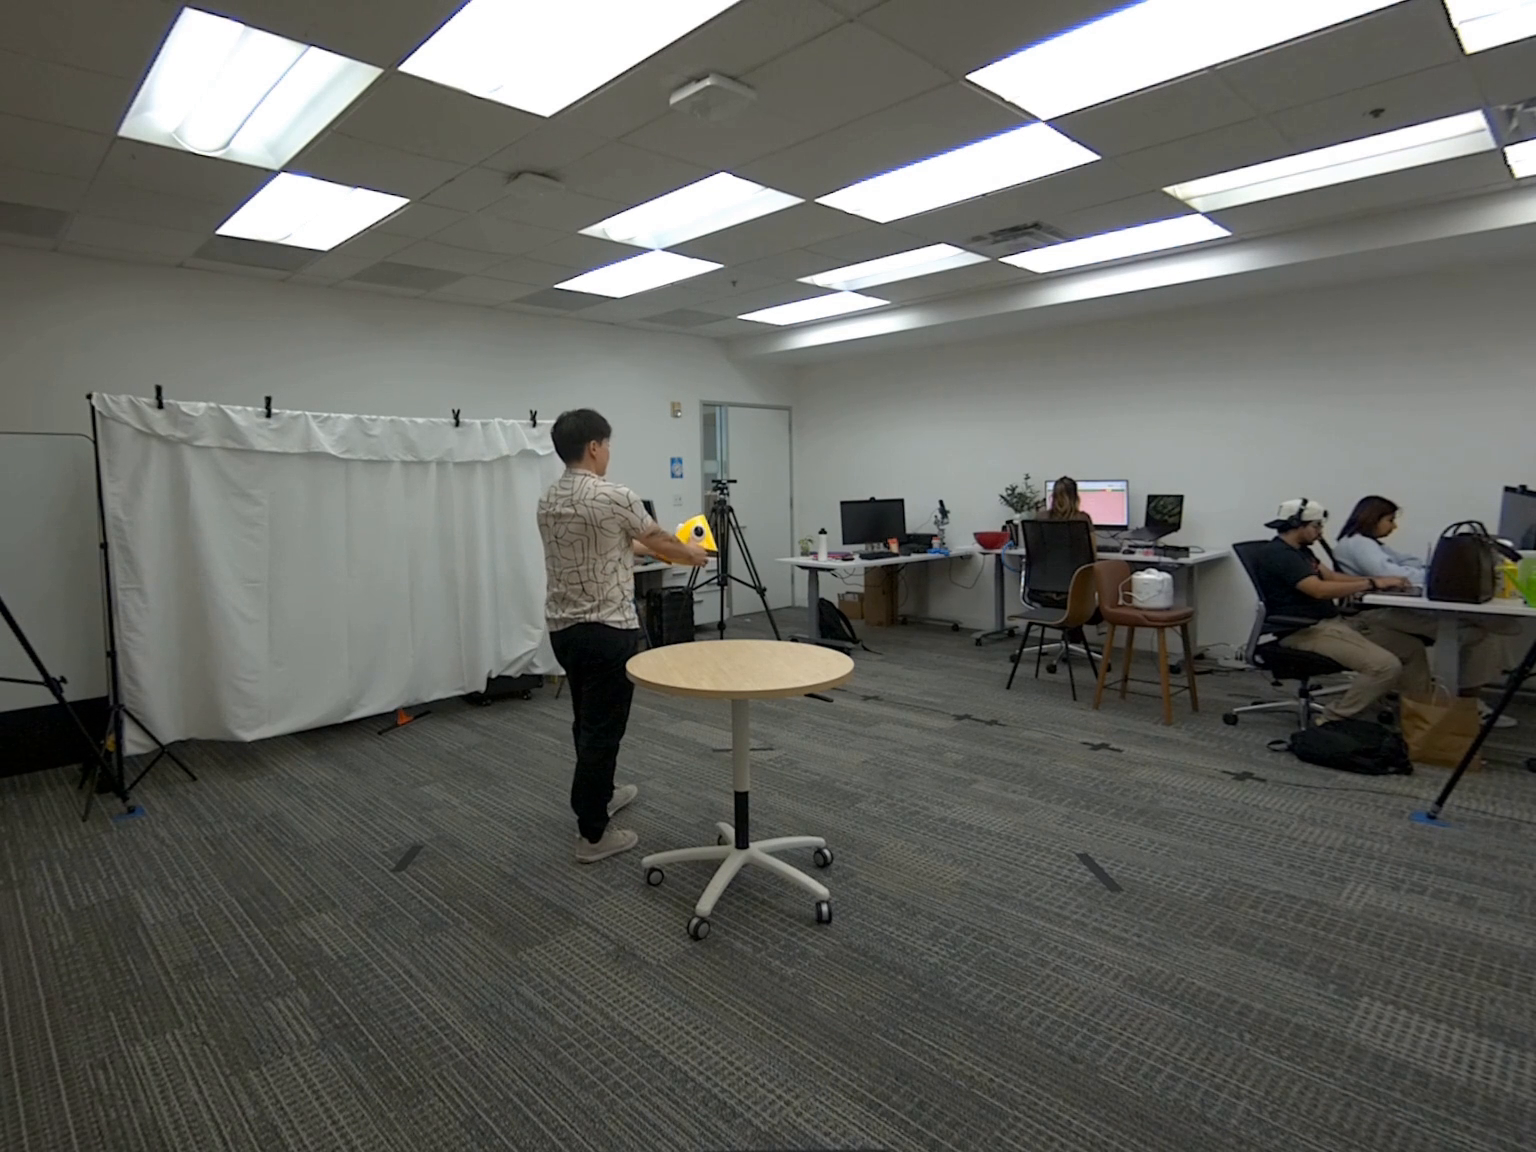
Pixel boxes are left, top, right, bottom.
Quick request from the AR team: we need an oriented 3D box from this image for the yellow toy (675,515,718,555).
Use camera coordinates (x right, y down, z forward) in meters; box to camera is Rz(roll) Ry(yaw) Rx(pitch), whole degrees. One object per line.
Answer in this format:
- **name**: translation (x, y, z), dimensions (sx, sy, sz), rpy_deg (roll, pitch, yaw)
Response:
- **yellow toy**: translation (-0.348, -0.177, 3.691), dimensions (0.211, 0.232, 0.186), rpy_deg (3, -15, 39)
